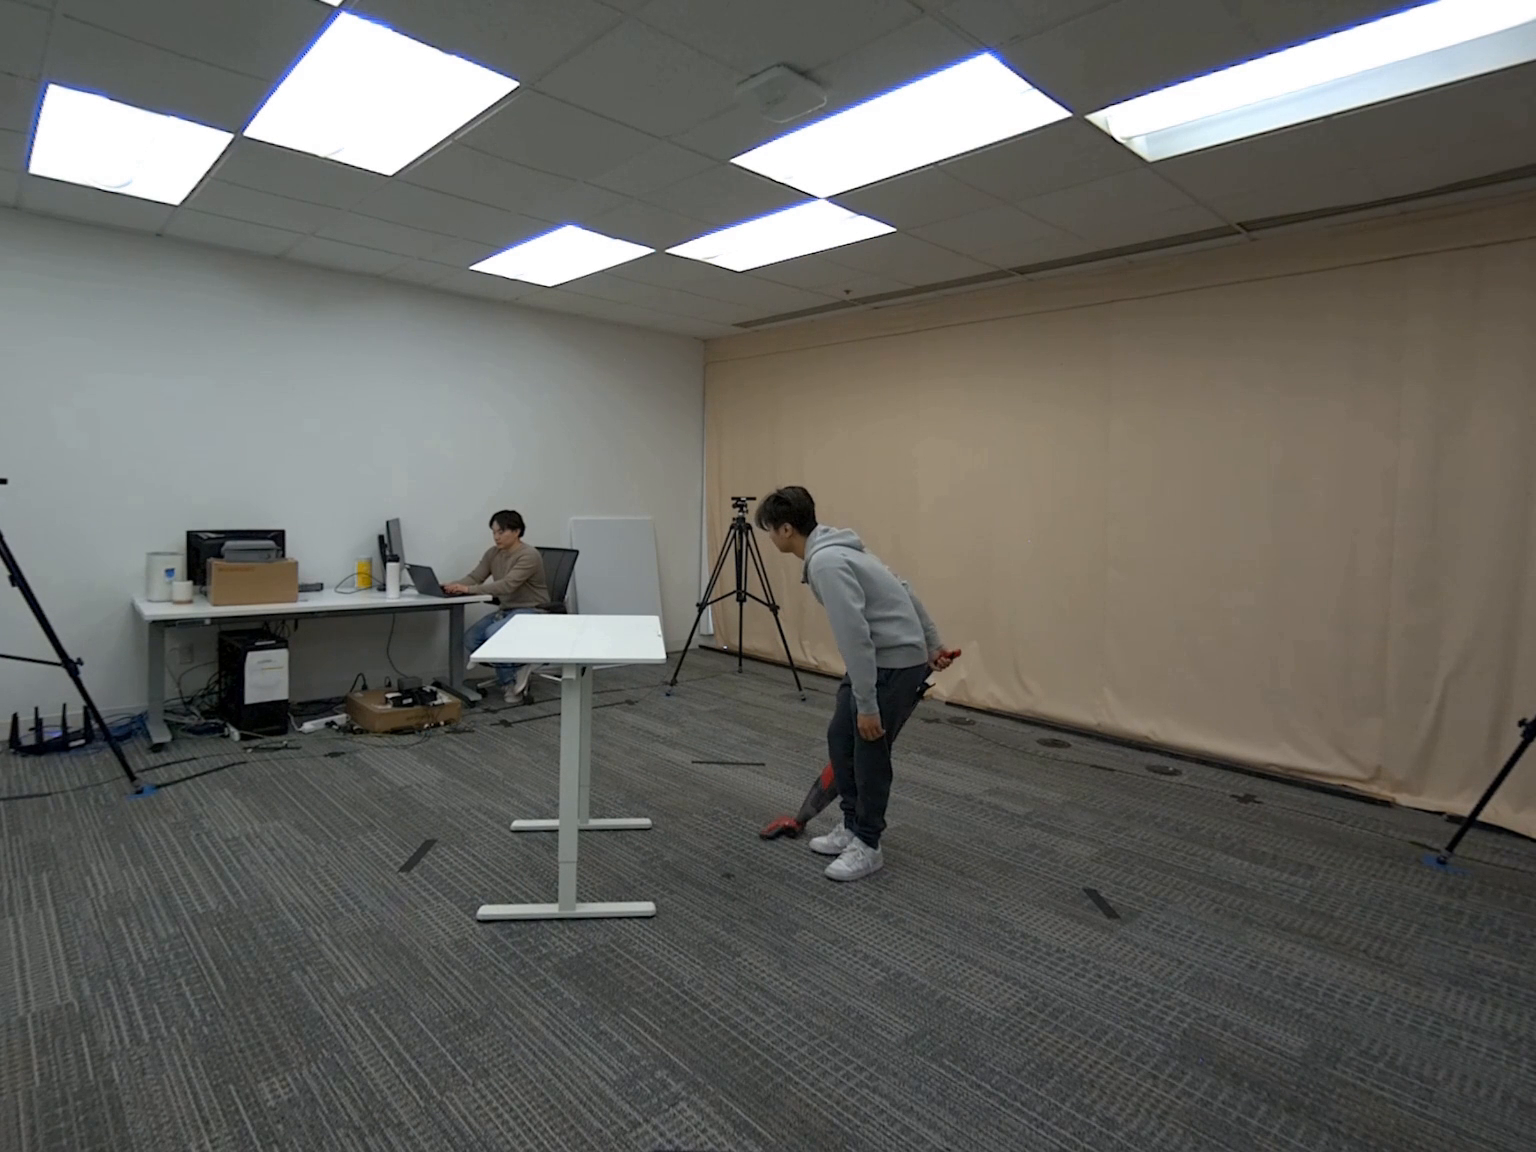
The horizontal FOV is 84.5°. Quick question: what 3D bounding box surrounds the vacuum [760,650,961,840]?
[{"bbox_3d":[0.372,0.690,3.411,0.146,1.049,0.248,46,15,14],"label":"vacuum"}]
